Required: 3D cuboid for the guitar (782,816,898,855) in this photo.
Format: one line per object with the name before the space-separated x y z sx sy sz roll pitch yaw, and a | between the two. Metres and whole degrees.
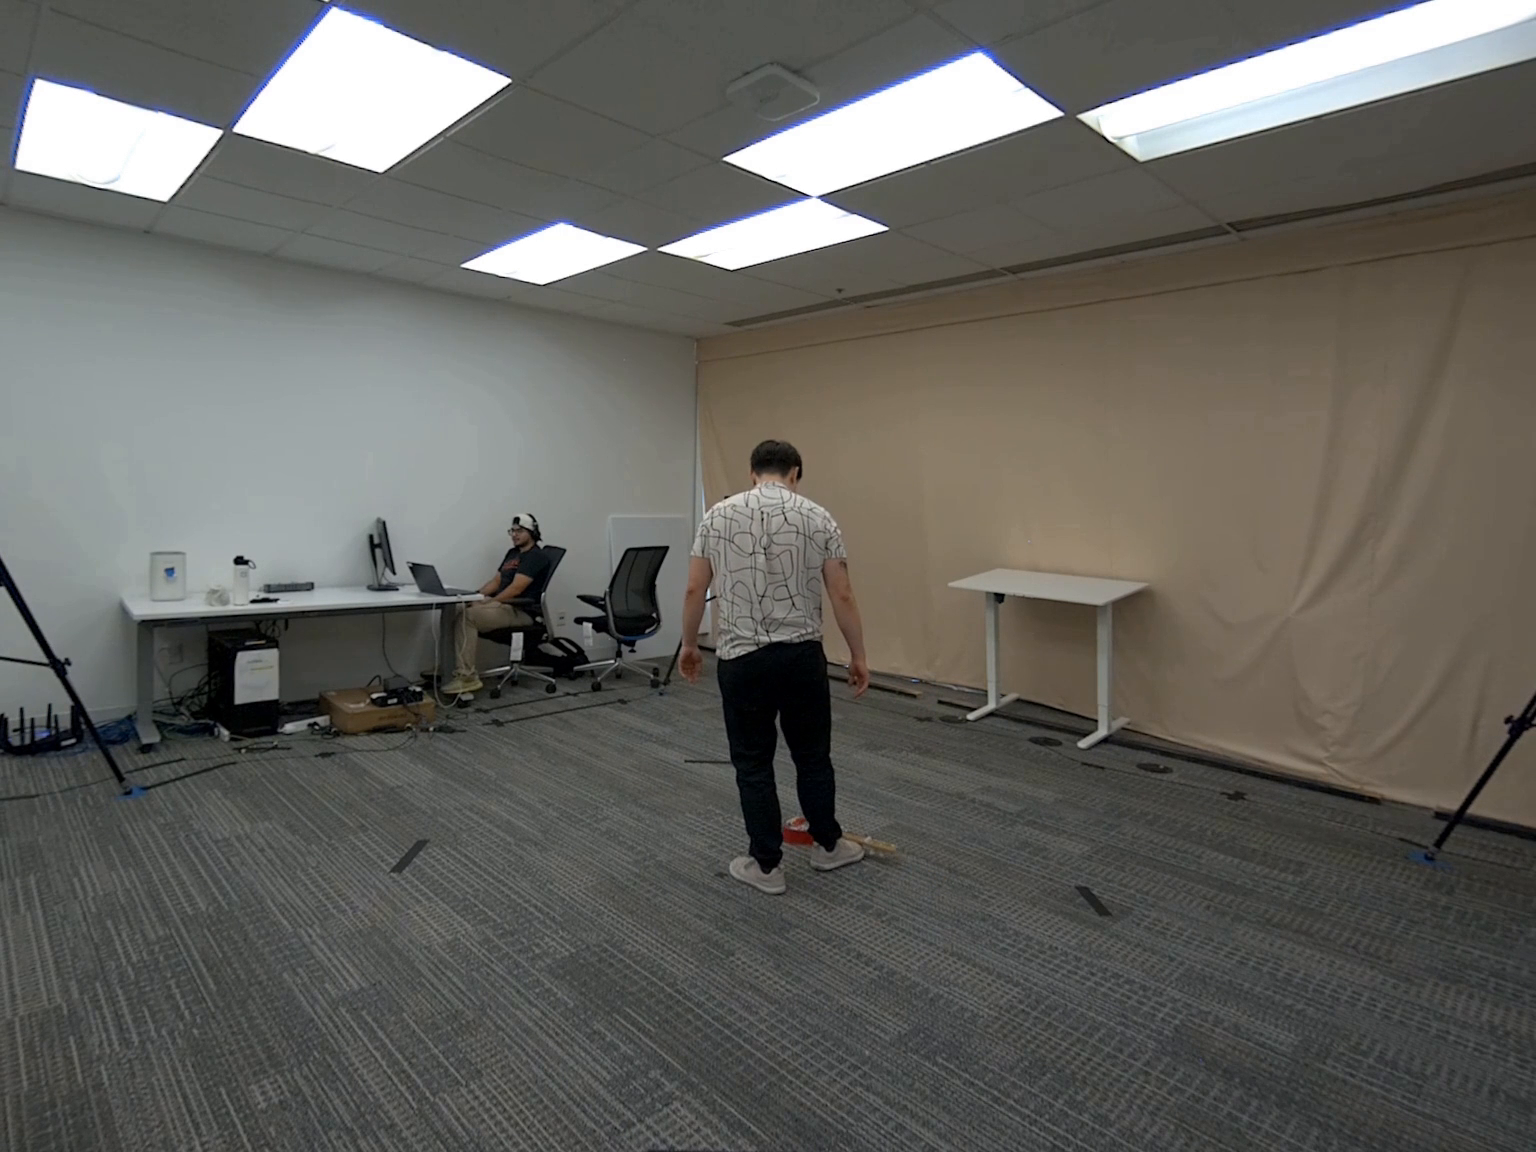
guitar | 0.262 1.056 3.351 0.510 0.070 0.188 5 6 45
